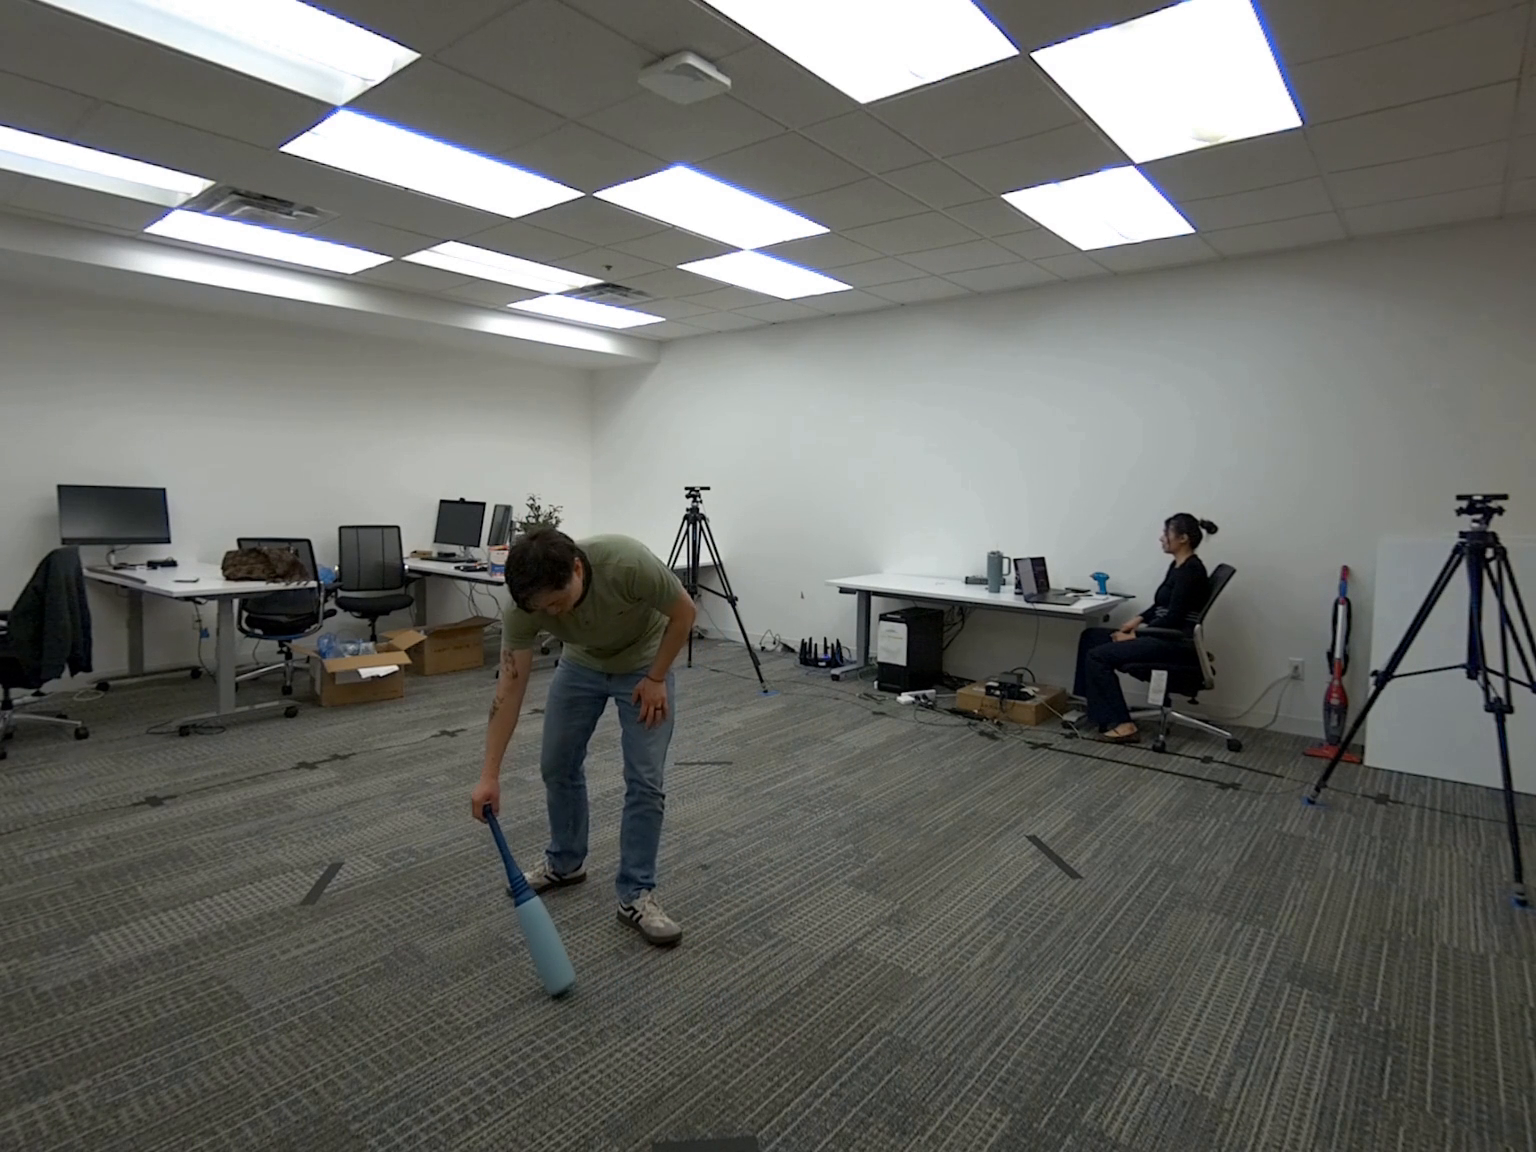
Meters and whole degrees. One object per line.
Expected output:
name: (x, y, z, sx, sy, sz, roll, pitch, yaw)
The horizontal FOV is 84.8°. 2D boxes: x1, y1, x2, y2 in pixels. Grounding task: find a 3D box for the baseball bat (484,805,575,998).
baseball bat: (-0.699, 0.898, 2.385, 0.088, 0.554, 0.087, -29, -15, -9)
